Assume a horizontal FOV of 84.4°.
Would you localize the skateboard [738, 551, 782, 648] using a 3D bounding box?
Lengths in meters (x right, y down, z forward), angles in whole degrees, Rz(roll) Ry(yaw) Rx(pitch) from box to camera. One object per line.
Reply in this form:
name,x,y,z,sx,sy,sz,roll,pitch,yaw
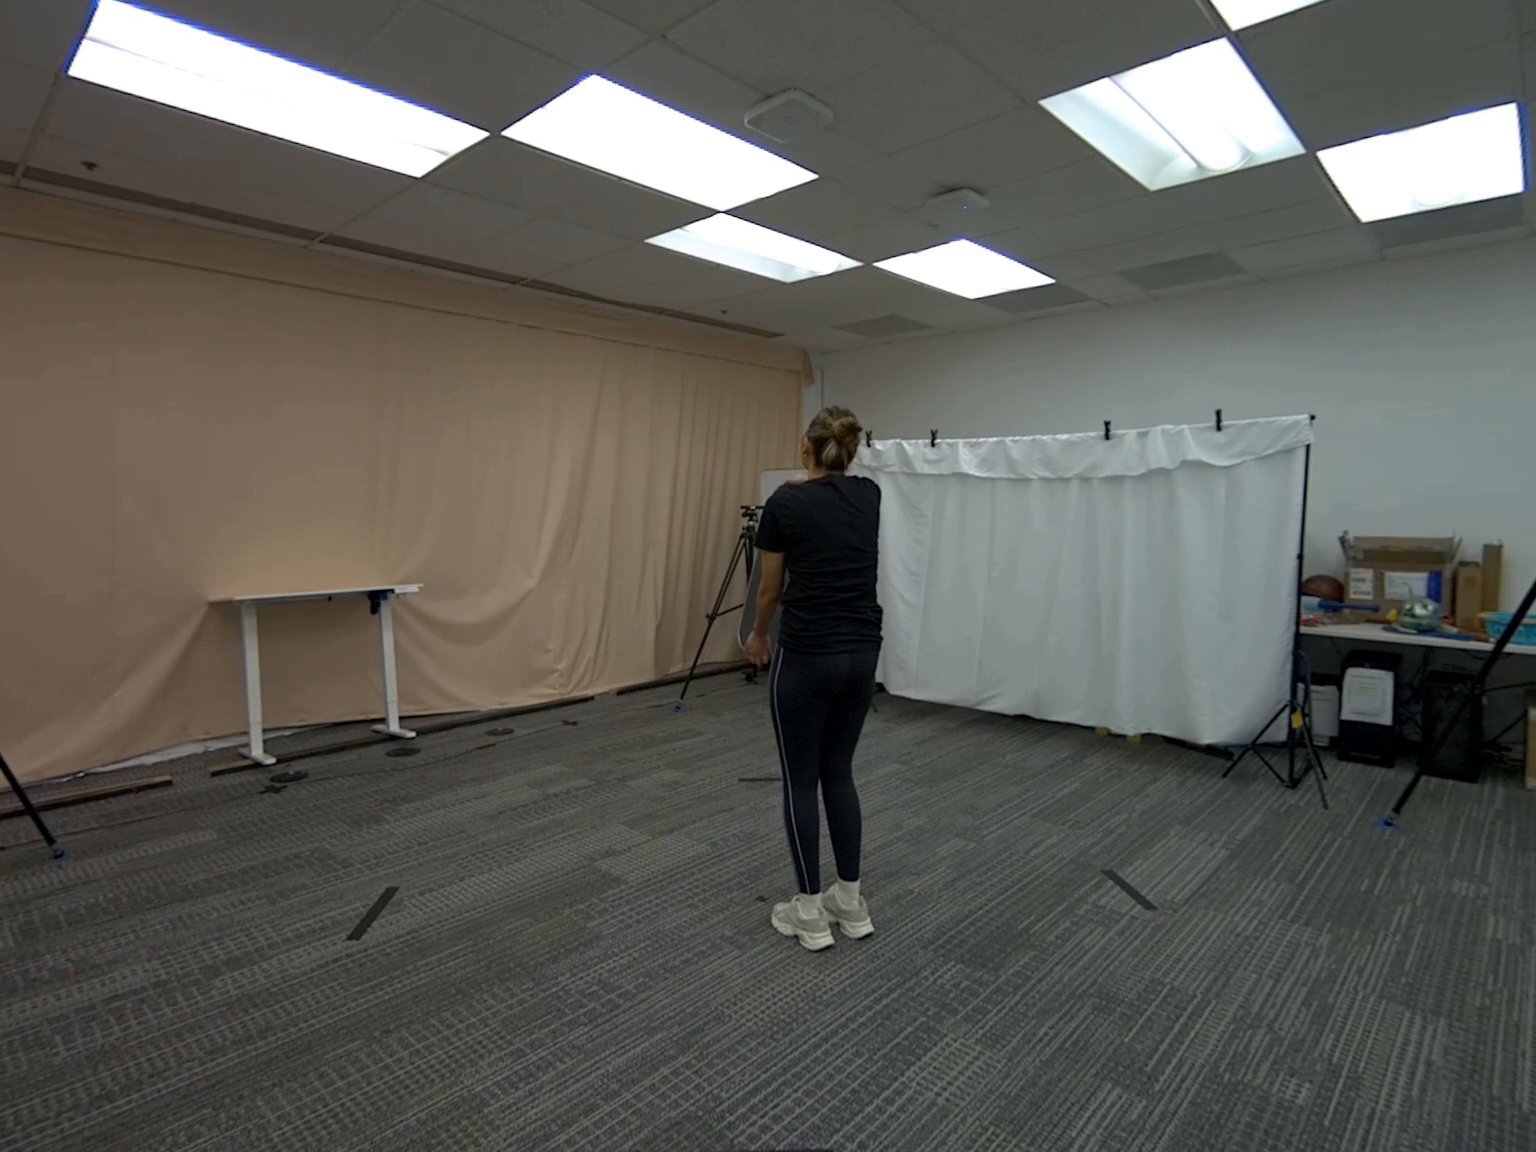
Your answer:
skateboard,0.041,-0.015,3.272,0.196,0.792,0.108,9,-29,9
